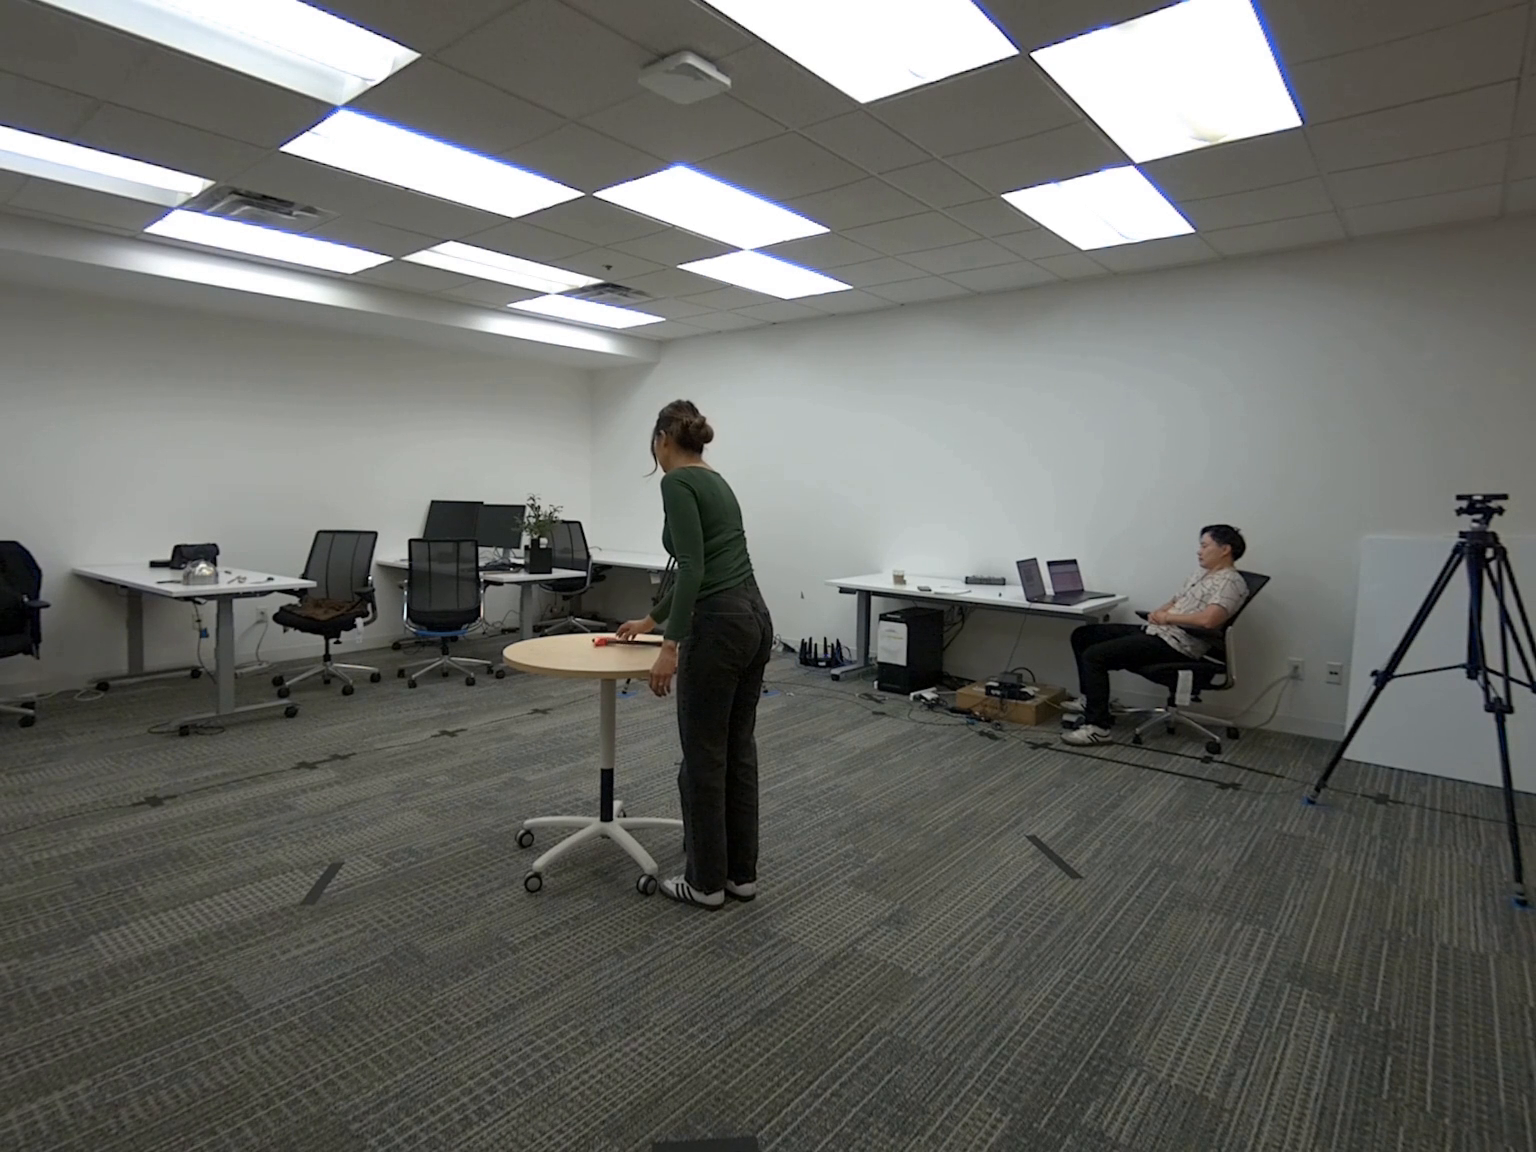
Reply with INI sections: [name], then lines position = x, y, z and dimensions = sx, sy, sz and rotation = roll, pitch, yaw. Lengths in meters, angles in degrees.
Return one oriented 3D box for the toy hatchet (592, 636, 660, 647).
[toy hatchet]
position = -0.553, 0.252, 3.281
dimensions = 0.267, 0.029, 0.132
rotation = 3, 1, -11
